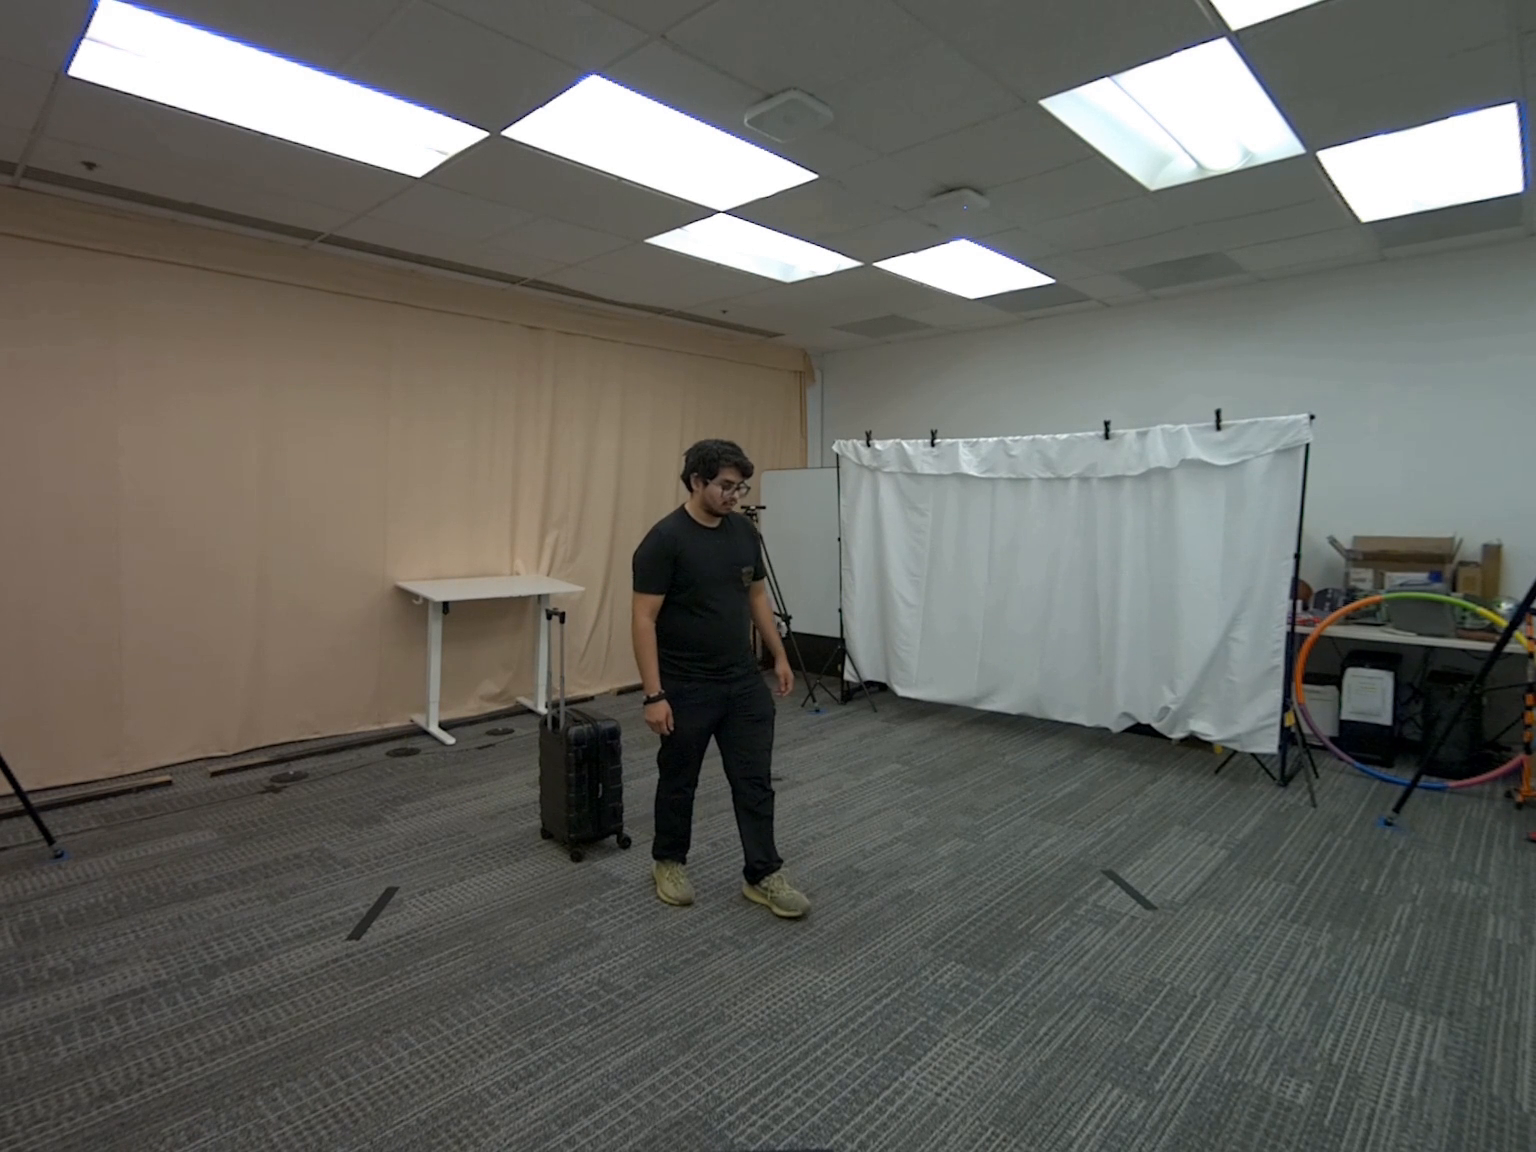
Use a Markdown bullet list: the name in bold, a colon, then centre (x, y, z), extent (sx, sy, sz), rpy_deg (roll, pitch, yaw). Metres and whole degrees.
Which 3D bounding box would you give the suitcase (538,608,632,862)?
- **suitcase**: centre (-0.782, 0.628, 3.485), extent (0.249, 0.977, 0.396), rpy_deg (-2, 3, -34)
